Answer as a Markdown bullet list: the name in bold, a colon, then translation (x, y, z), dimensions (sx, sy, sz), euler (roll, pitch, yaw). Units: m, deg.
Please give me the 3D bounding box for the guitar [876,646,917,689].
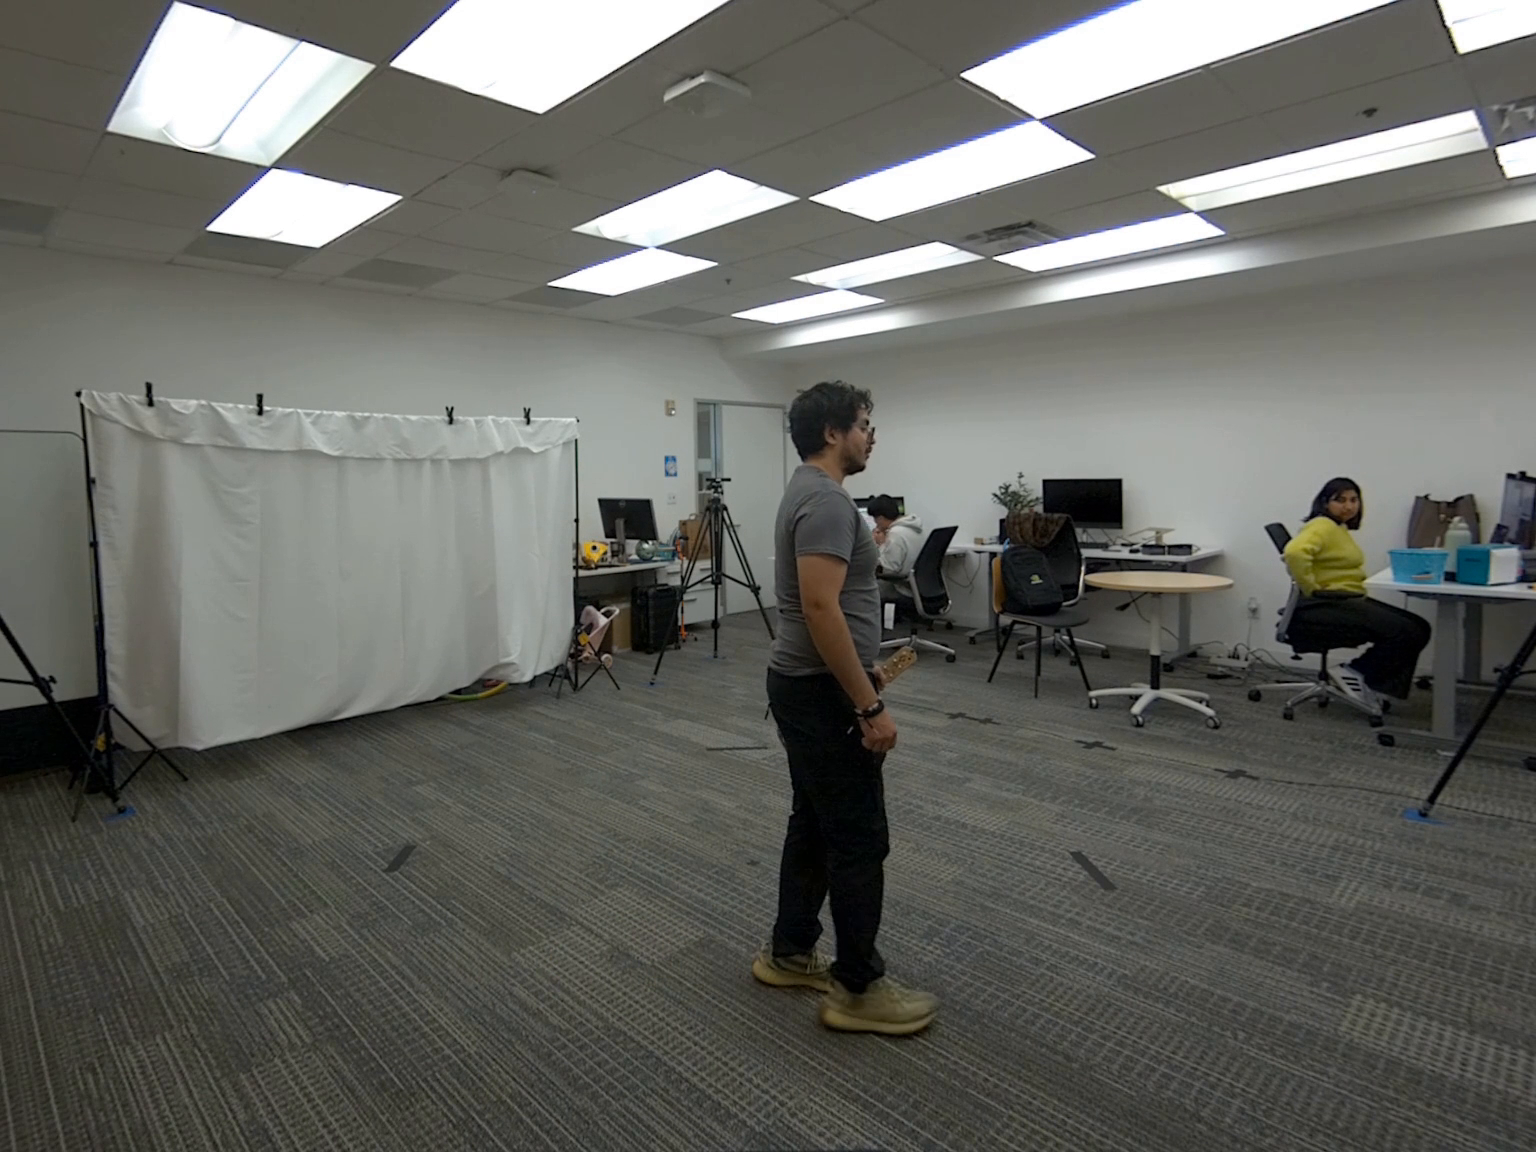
- **guitar**: translation (0.276, 0.419, 2.624), dimensions (0.498, 0.198, 0.069), euler (-30, -22, 3)
